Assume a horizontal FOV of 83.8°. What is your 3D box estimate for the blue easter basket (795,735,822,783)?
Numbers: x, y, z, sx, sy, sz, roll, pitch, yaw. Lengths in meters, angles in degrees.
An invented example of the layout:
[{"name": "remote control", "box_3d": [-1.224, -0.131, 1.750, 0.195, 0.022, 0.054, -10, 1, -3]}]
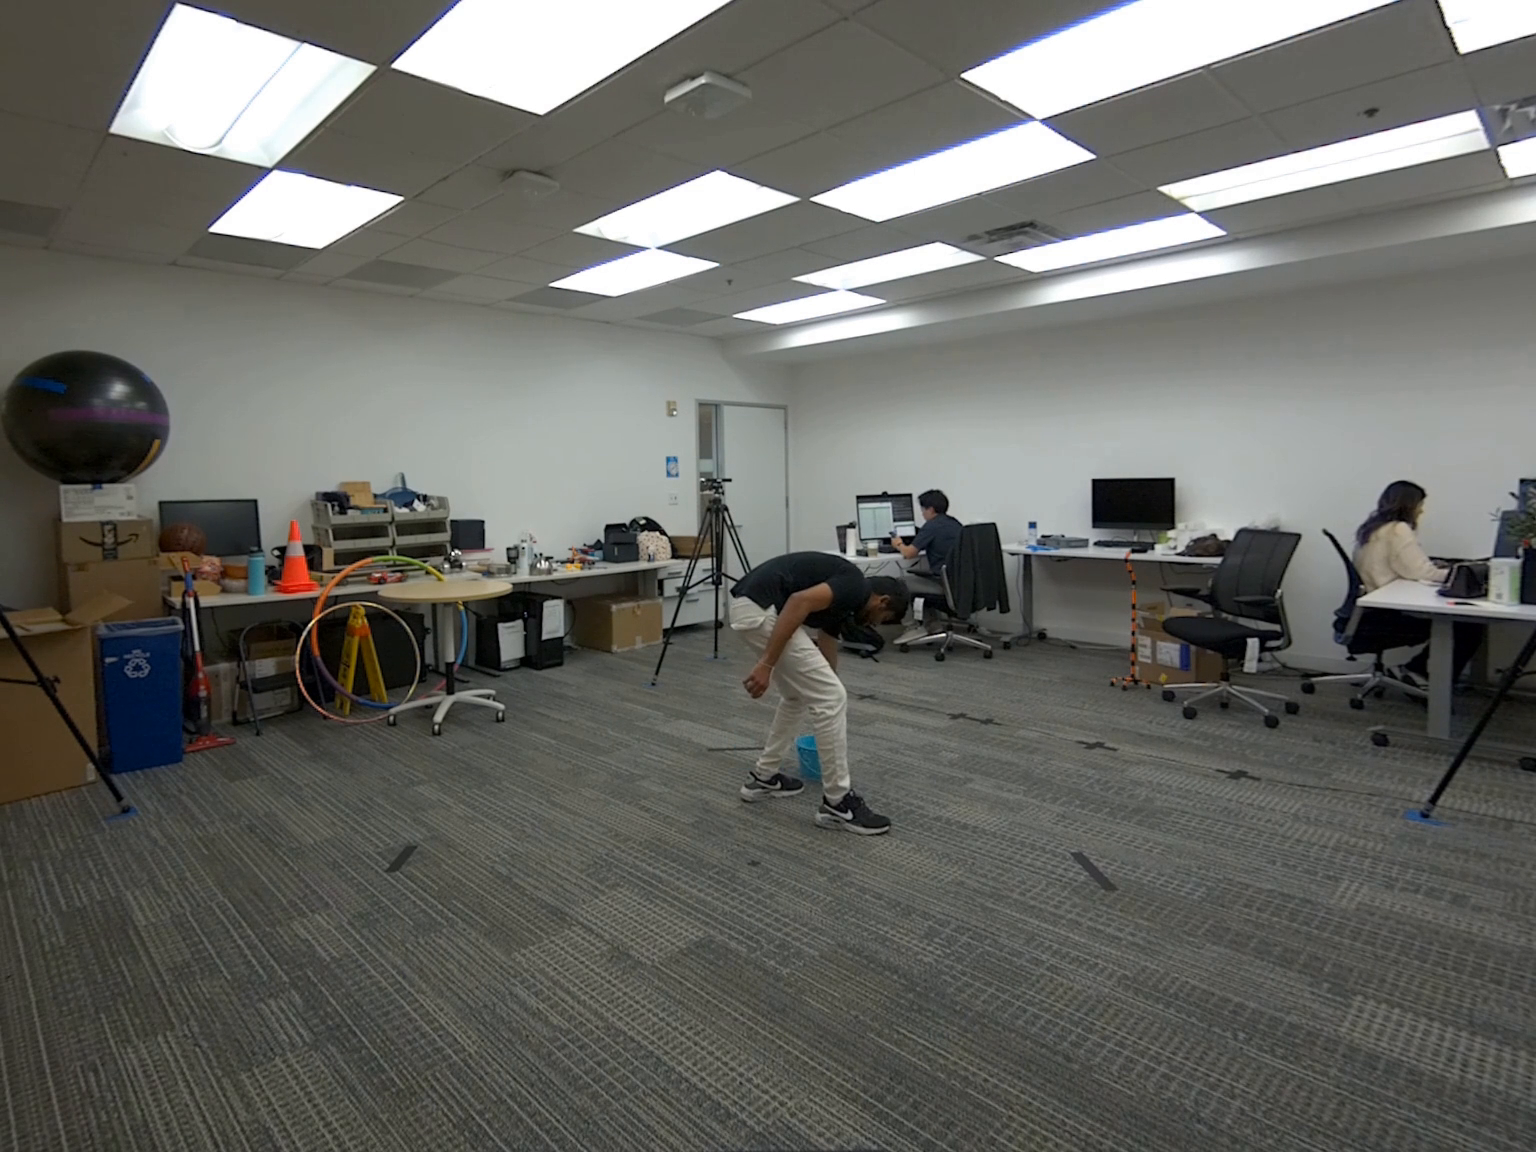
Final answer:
[{"name": "blue easter basket", "box_3d": [0.247, 0.860, 4.035, 0.243, 0.155, 0.244, -2, 4, -2]}]
